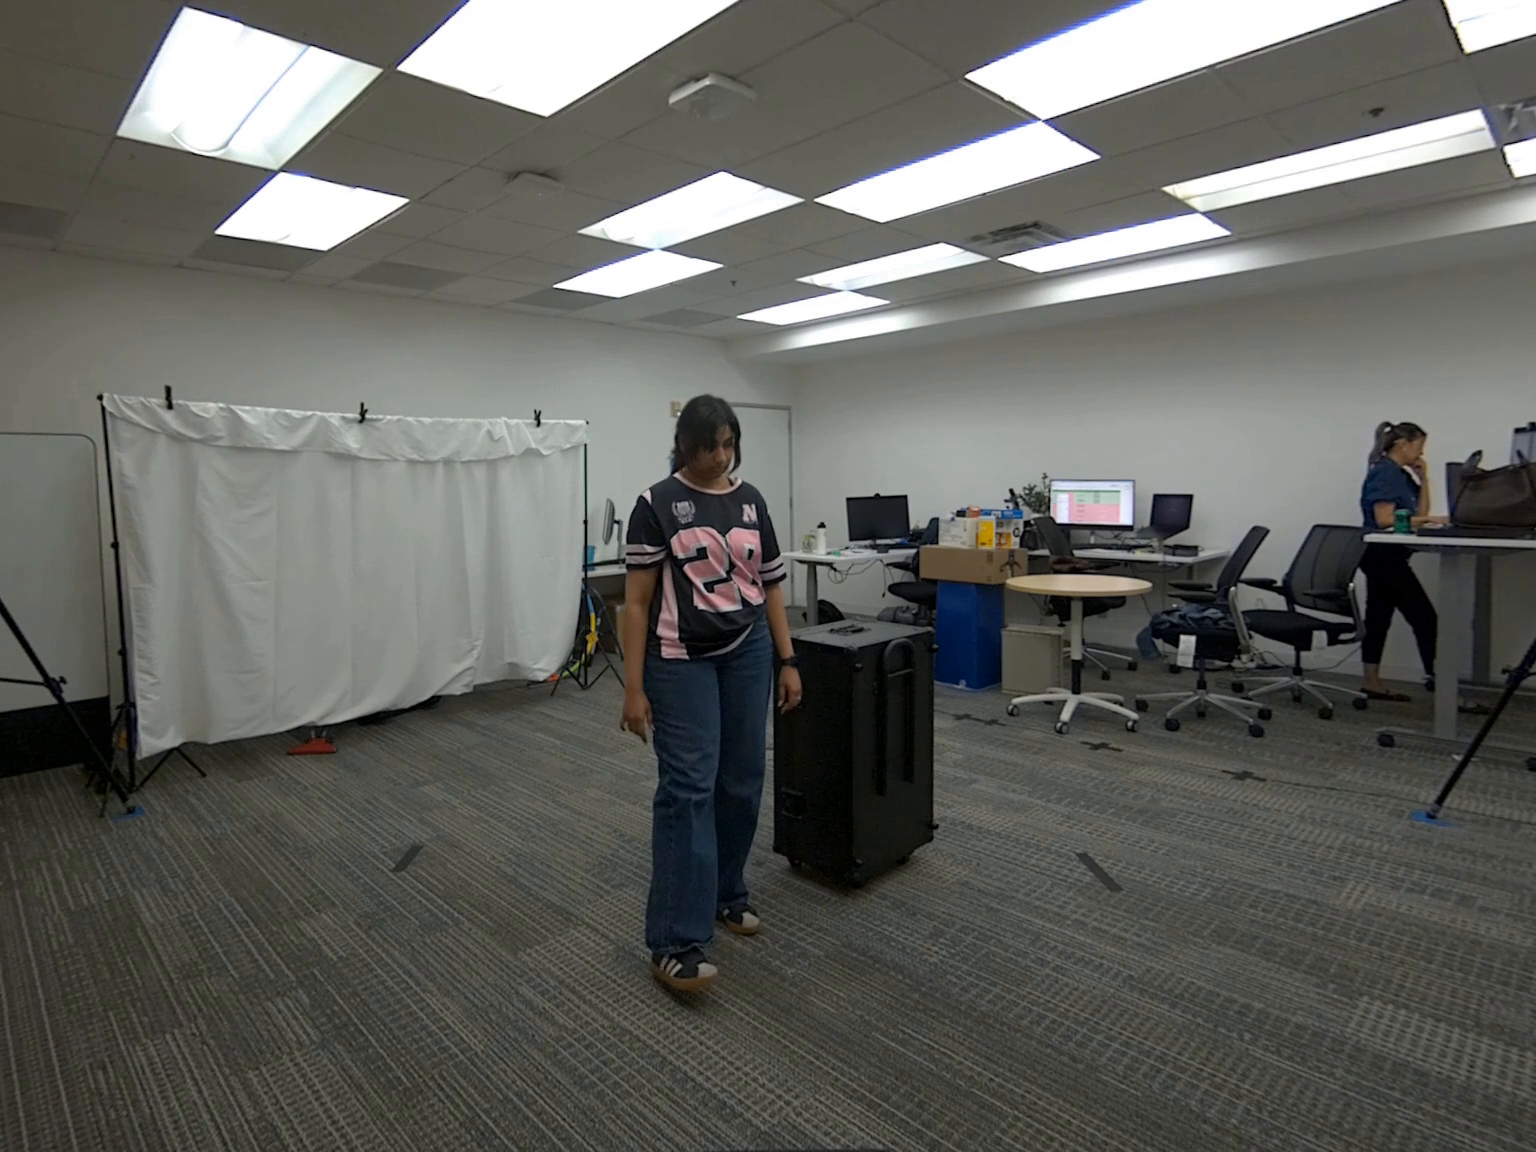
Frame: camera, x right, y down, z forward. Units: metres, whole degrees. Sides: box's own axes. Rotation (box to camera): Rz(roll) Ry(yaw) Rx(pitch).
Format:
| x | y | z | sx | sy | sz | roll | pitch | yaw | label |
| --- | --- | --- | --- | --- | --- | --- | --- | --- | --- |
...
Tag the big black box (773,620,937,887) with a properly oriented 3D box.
| x | y | z | sx | sy | sz | roll | pitch | yaw | label |
| --- | --- | --- | --- | --- | --- | --- | --- | --- | --- |
| 0.324 | 0.622 | 3.056 | 0.409 | 0.858 | 0.507 | 6 | 7 | 45 | big black box |
